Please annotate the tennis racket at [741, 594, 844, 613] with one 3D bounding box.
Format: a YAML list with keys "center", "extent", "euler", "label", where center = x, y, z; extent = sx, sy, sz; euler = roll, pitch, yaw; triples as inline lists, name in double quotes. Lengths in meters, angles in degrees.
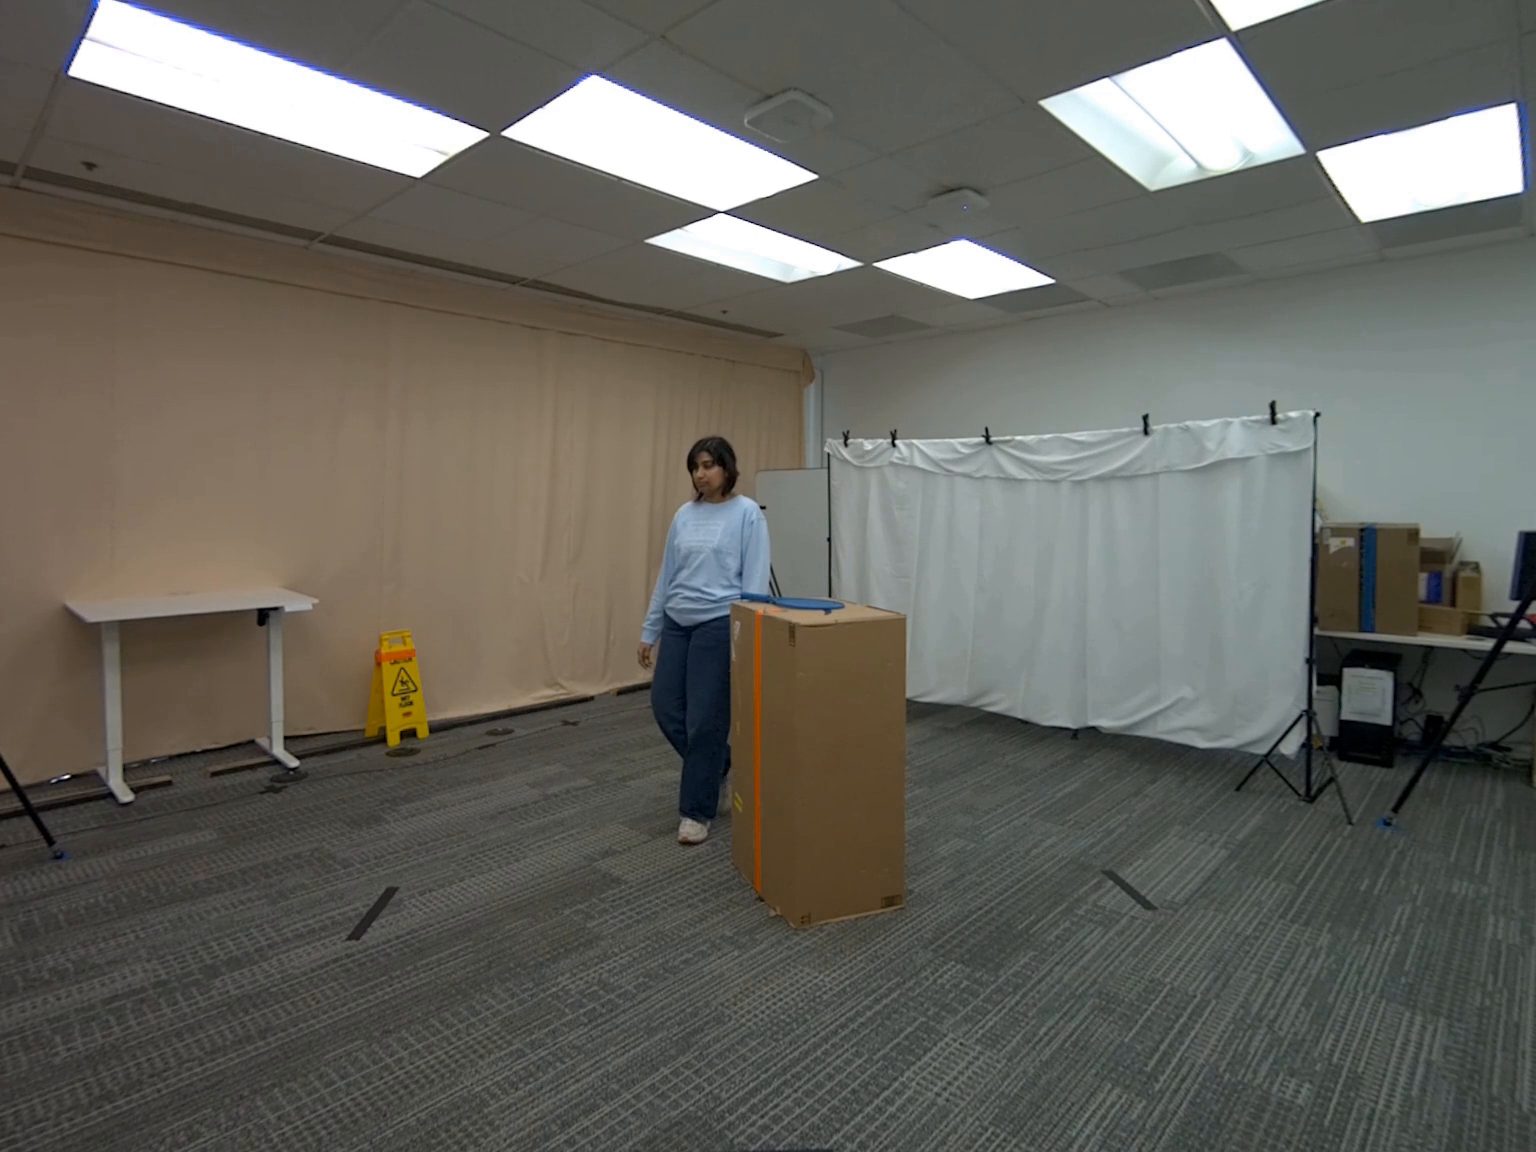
- center: [0.098, 0.099, 3.132]
  extent: [0.446, 0.031, 0.208]
  euler: [5, 7, 33]
  label: "tennis racket"
